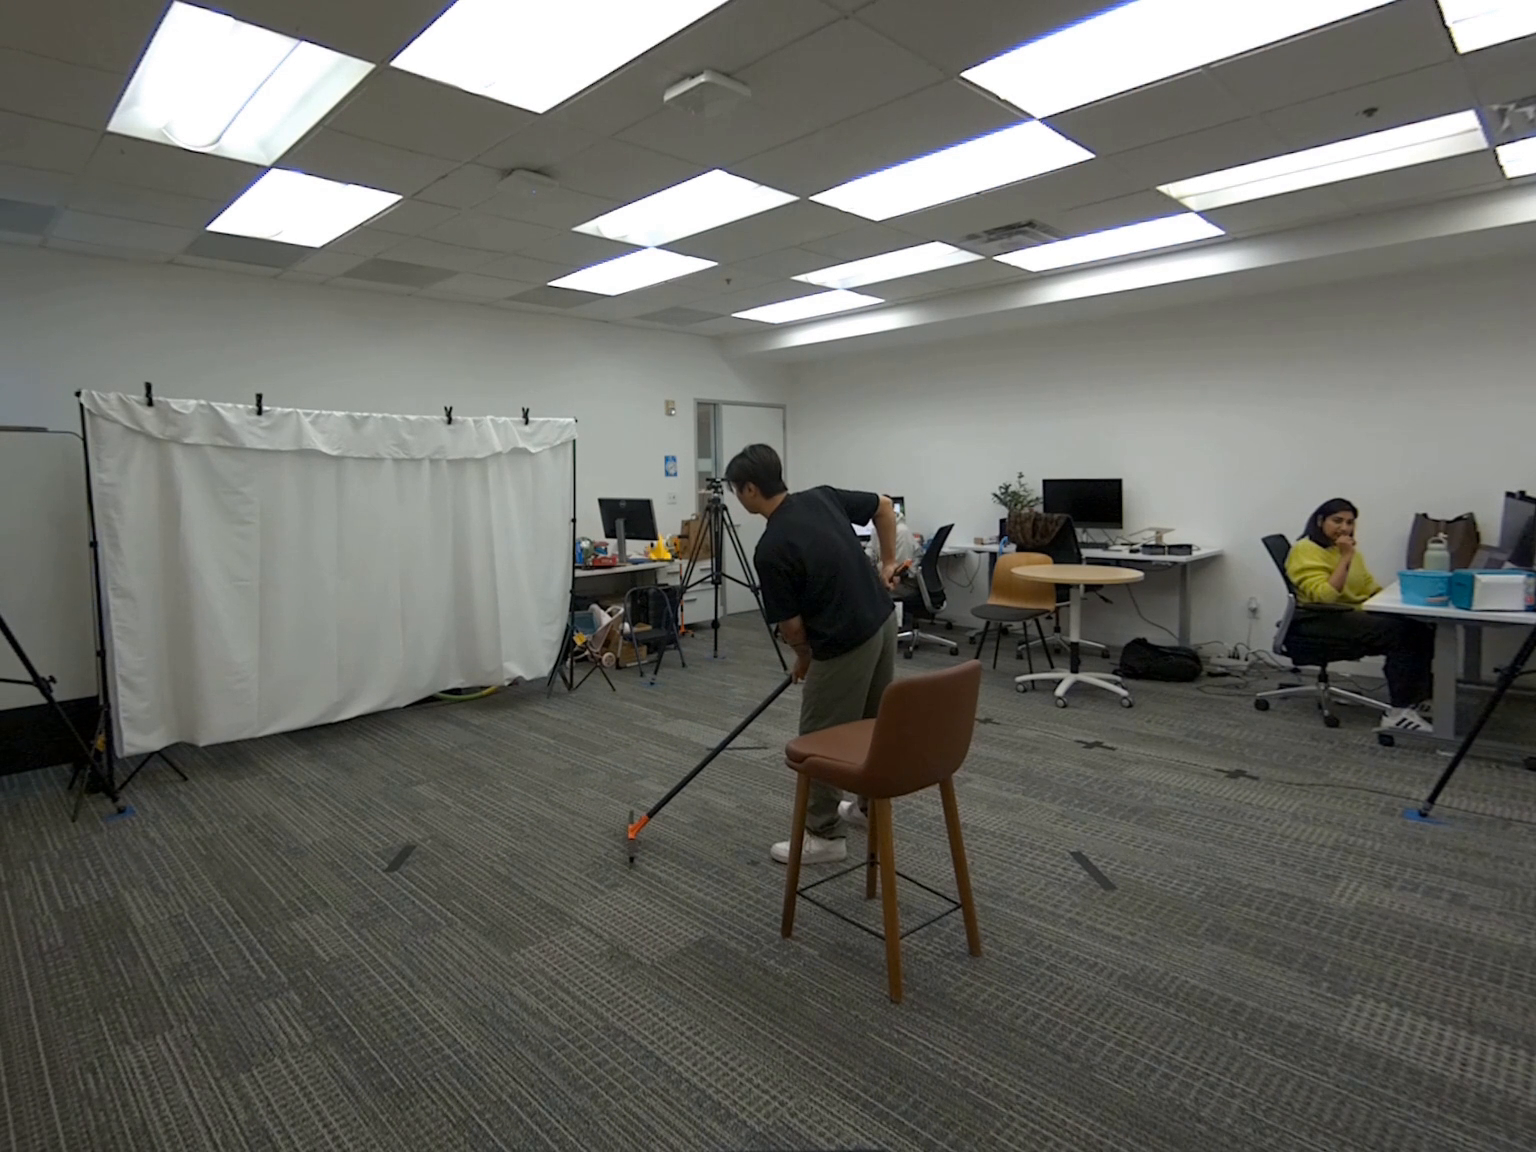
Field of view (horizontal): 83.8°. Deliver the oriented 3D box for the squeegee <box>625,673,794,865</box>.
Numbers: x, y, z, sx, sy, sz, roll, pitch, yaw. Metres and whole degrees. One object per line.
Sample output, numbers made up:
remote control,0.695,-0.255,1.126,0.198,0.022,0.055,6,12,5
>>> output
squeegee,-0.027,0.473,3.299,1.537,0.052,0.443,-45,11,-5
